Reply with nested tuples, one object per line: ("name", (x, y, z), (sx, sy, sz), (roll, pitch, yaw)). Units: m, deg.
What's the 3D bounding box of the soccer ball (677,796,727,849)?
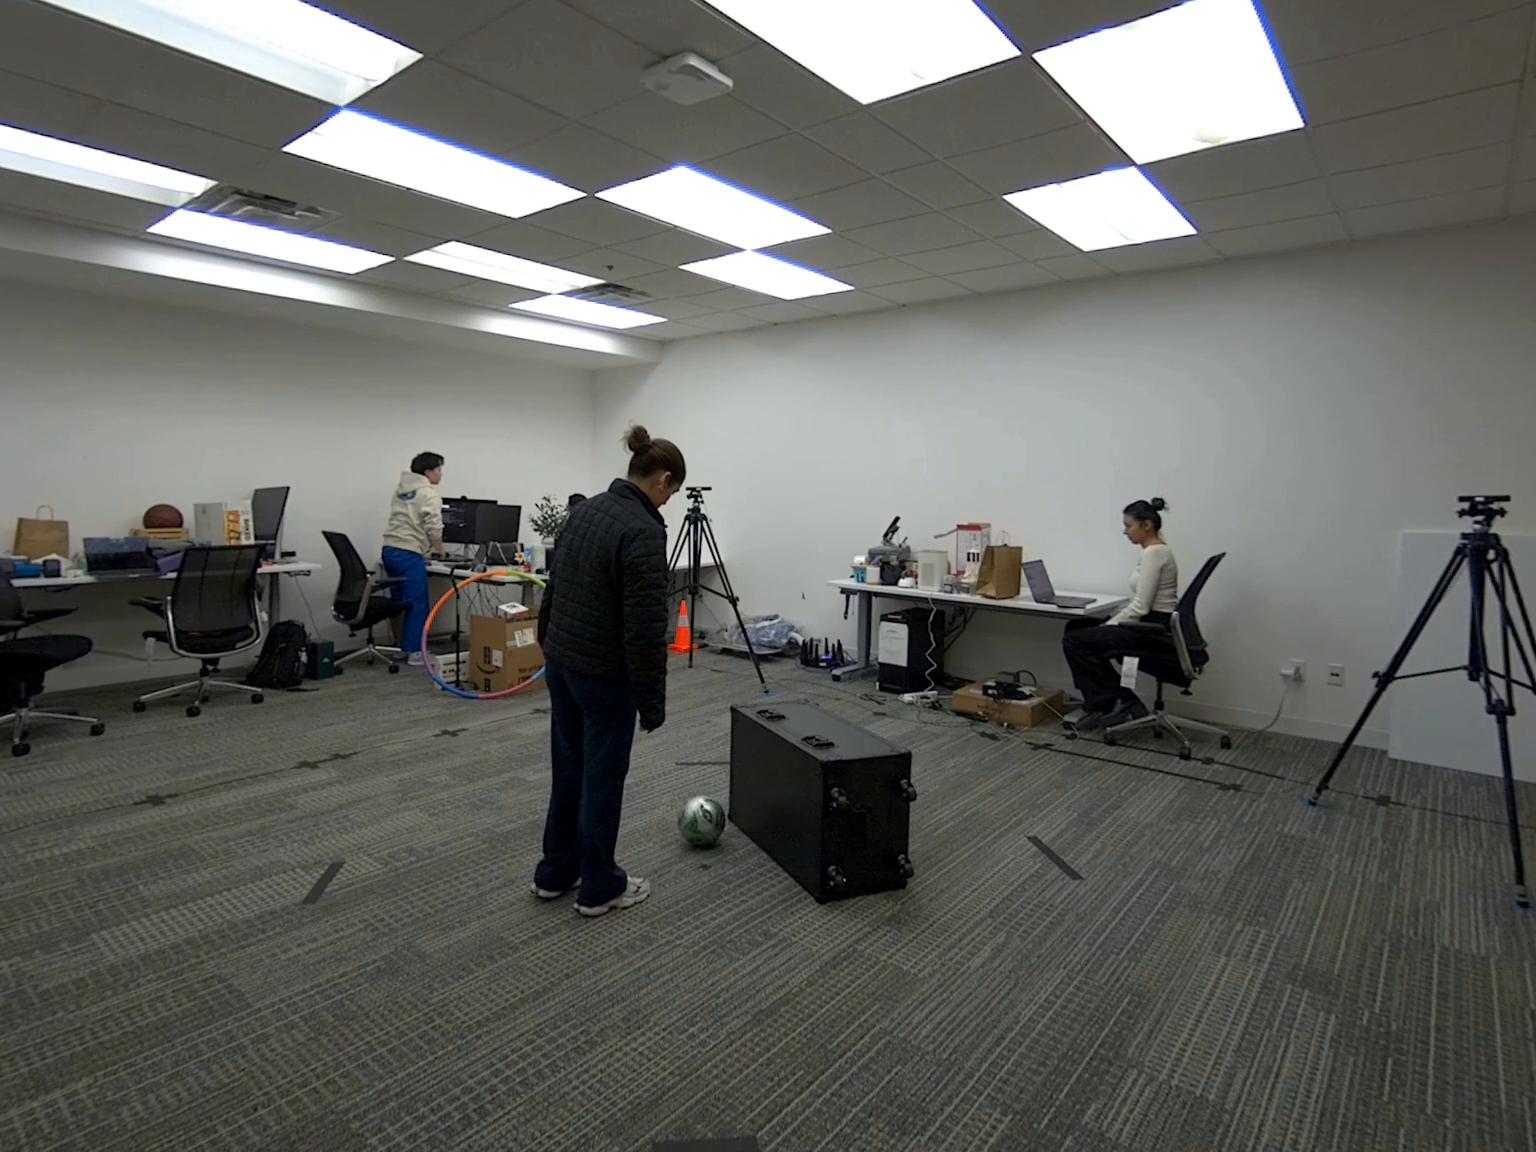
("soccer ball", (-0.268, 0.949, 3.319), (0.187, 0.187, 0.188), (1, 4, -2))
